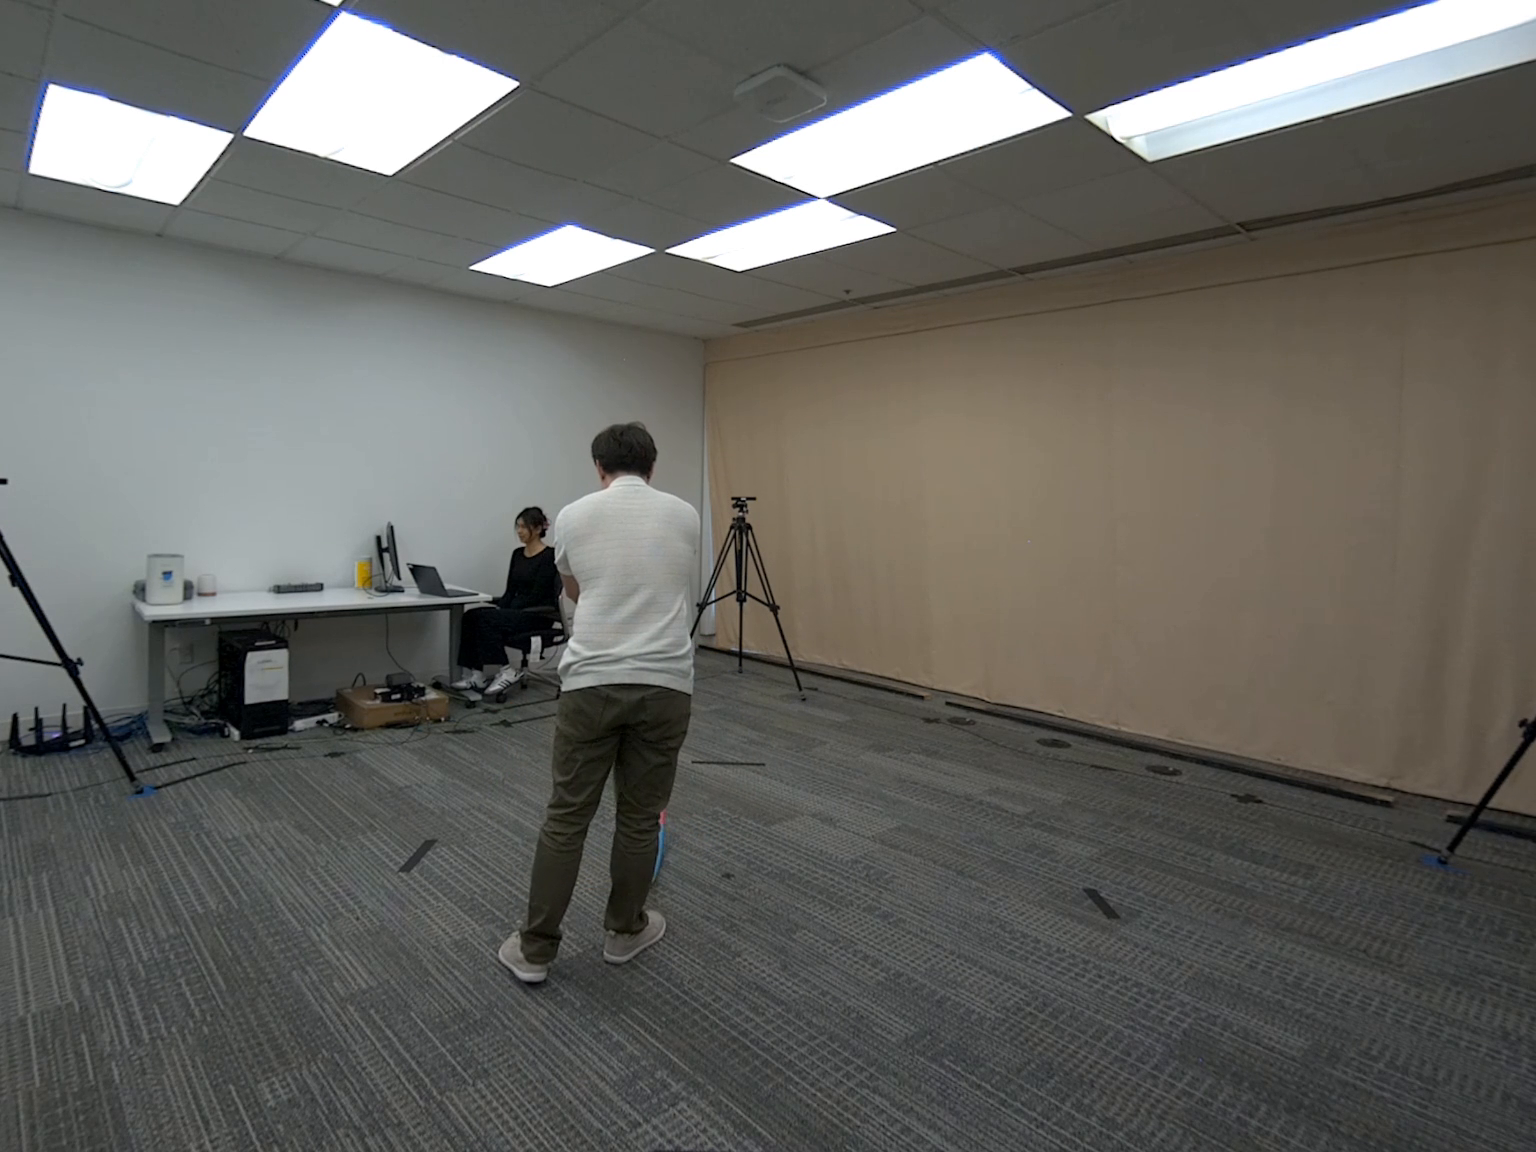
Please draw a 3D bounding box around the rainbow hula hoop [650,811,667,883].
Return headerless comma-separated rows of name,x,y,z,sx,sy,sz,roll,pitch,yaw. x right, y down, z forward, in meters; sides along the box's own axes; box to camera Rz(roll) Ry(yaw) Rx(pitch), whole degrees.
rainbow hula hoop,-0.462,0.627,3.104,0.035,0.976,0.980,-5,4,0
